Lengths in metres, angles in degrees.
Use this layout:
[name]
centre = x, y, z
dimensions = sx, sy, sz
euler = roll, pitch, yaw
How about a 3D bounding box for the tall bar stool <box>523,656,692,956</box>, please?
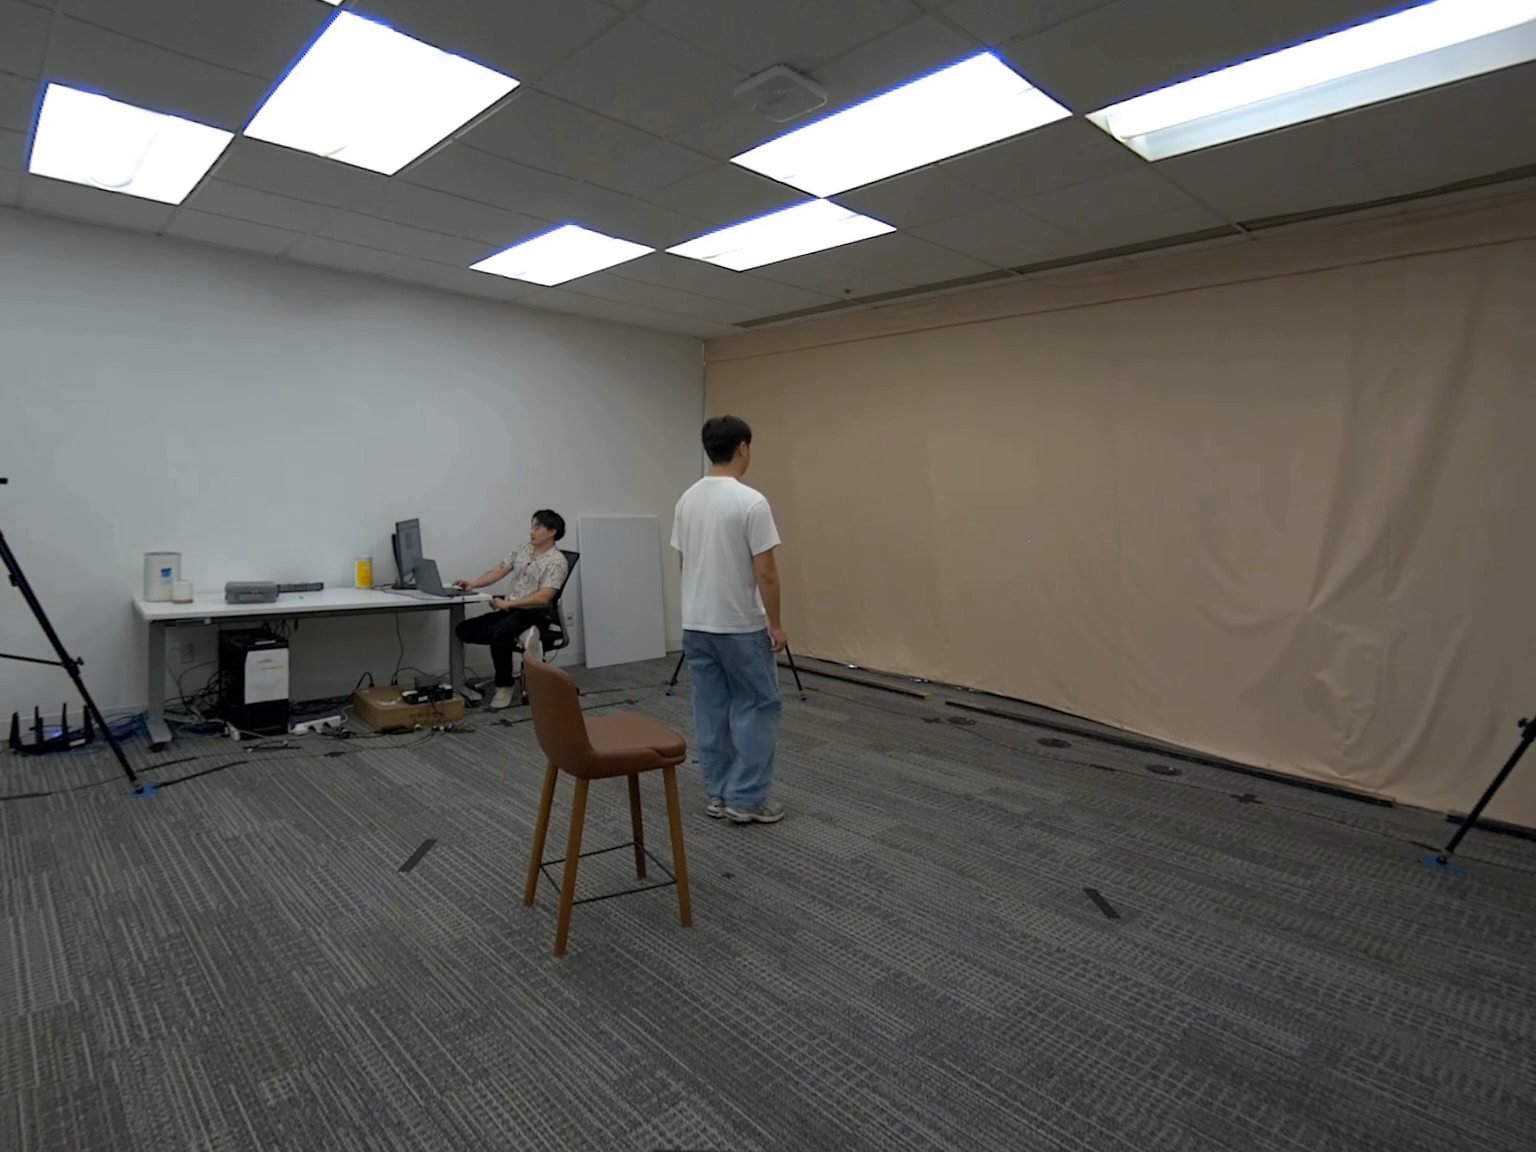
[tall bar stool]
centre = -0.542, 0.691, 2.773
dimensions = 0.458, 0.887, 0.467
euler = -3, 5, -31
